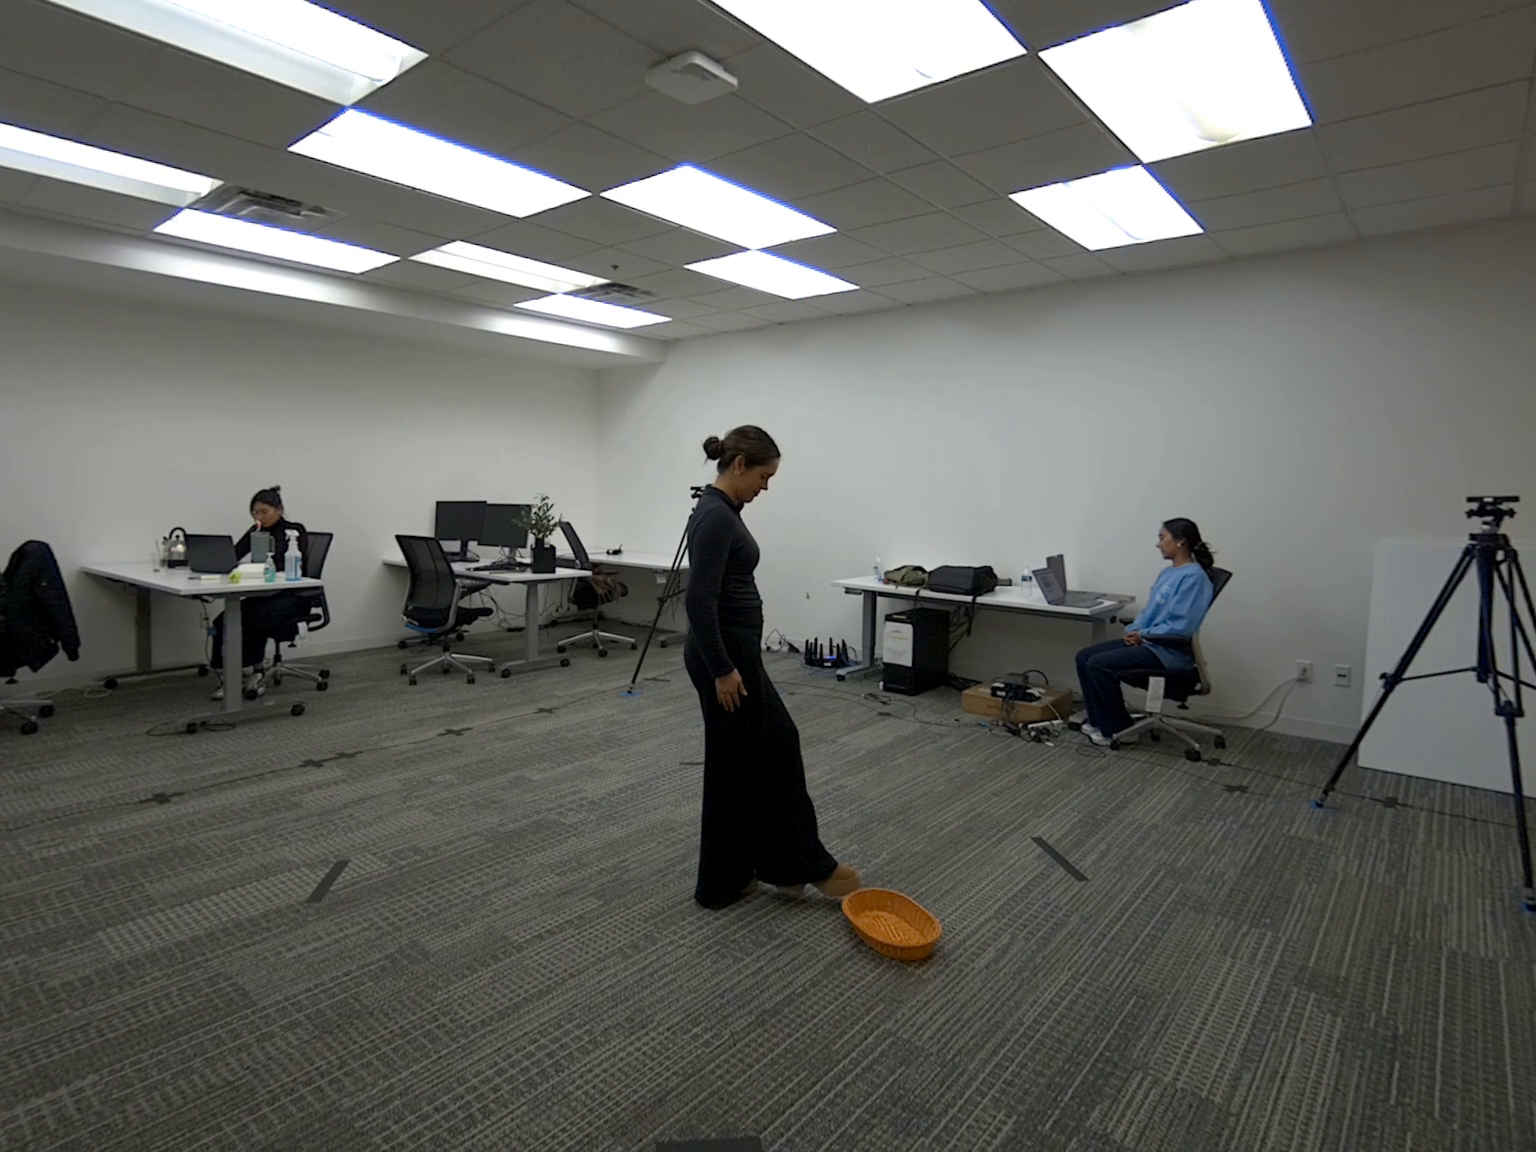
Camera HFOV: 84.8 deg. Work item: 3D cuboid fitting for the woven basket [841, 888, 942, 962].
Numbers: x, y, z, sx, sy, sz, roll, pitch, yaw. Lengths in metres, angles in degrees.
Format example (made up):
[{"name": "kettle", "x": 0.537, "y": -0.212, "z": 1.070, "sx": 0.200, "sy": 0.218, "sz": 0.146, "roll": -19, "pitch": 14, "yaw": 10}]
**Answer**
[{"name": "woven basket", "x": 0.375, "y": 1.084, "z": 2.651, "sx": 0.247, "sy": 0.073, "sz": 0.360, "roll": -3, "pitch": 7, "yaw": -24}]
